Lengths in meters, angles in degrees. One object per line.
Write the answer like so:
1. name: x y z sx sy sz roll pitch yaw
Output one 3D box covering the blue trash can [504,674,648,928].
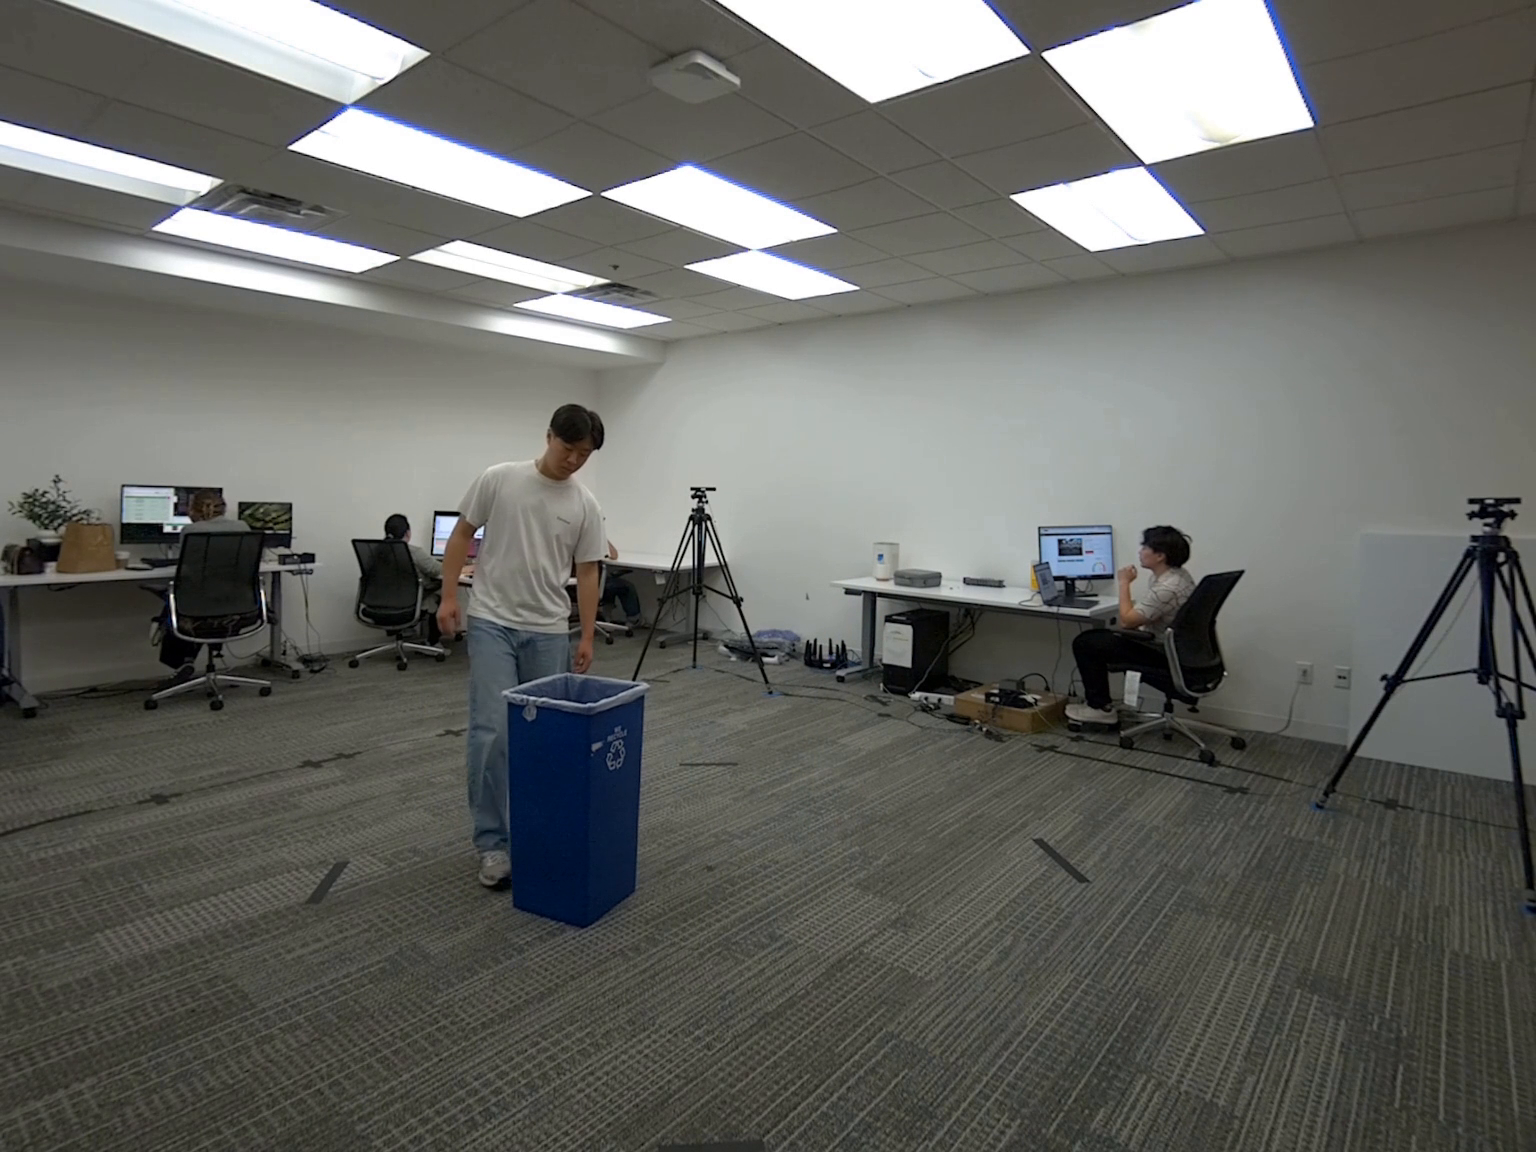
1. blue trash can: -0.653 0.724 2.850 0.388 0.711 0.366 2 4 24
